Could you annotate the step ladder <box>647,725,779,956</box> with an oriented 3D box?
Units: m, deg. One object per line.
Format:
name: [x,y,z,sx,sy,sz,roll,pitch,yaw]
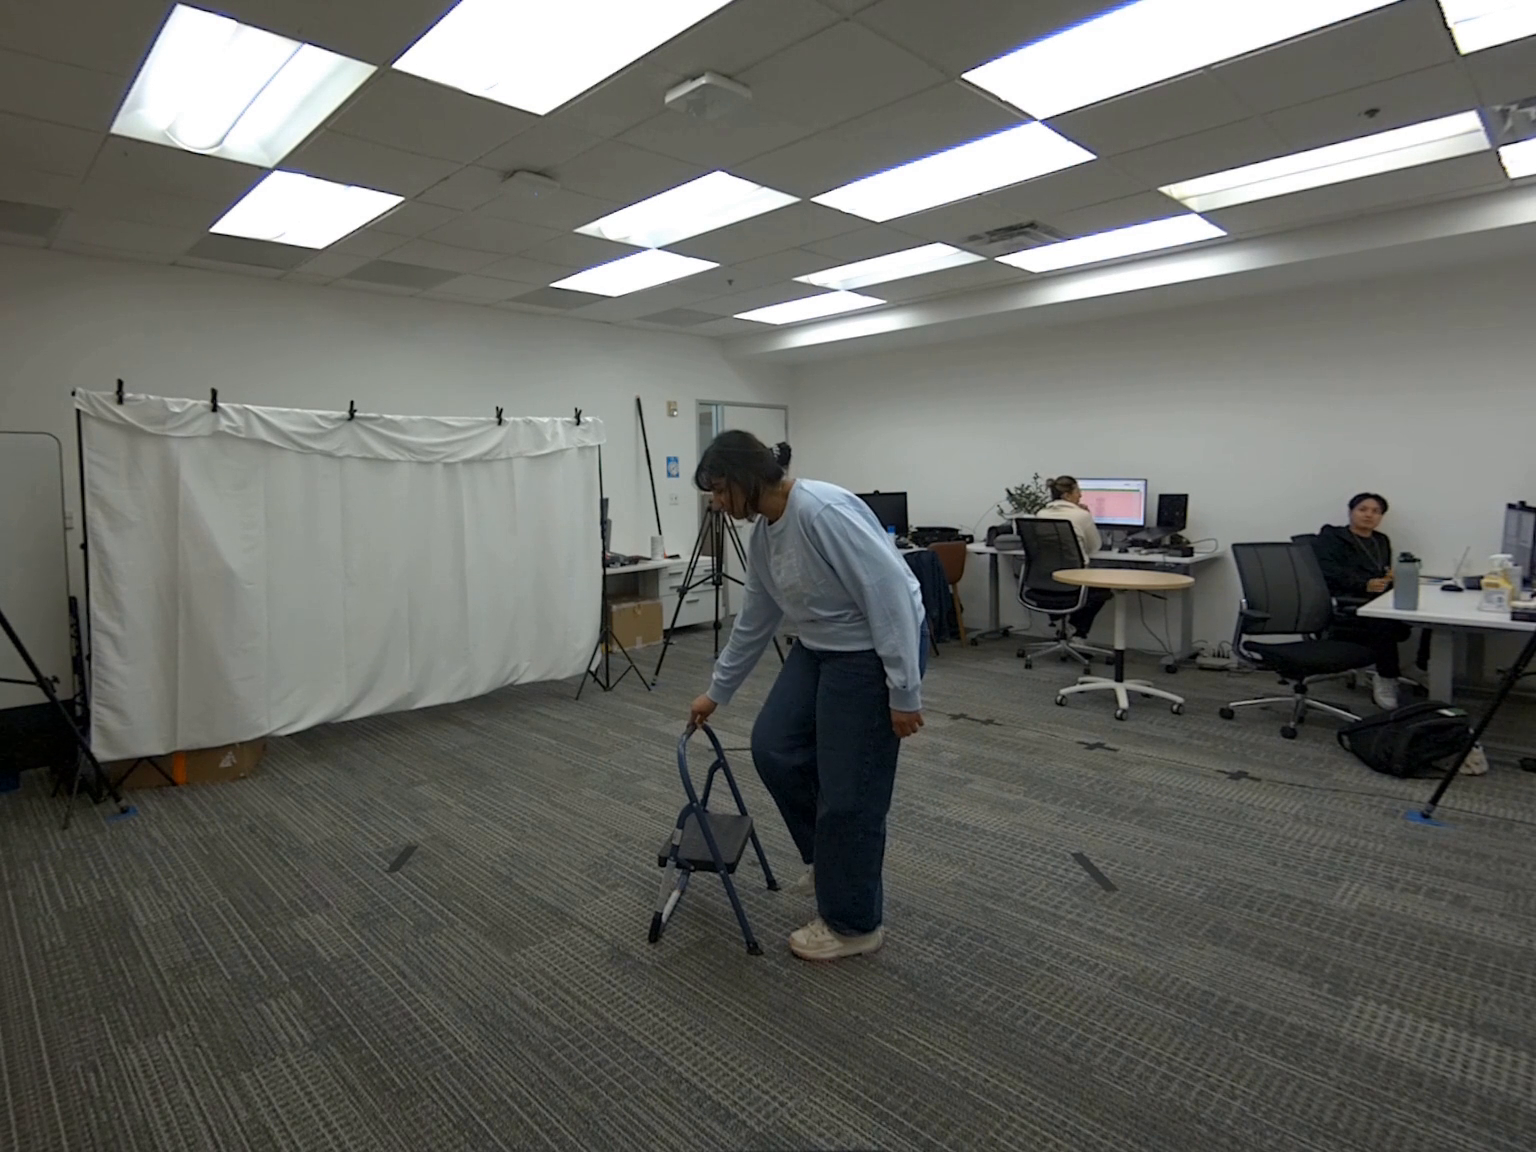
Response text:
step ladder: [-0.167,0.790,2.732,0.353,0.604,0.428,0,4,10]
